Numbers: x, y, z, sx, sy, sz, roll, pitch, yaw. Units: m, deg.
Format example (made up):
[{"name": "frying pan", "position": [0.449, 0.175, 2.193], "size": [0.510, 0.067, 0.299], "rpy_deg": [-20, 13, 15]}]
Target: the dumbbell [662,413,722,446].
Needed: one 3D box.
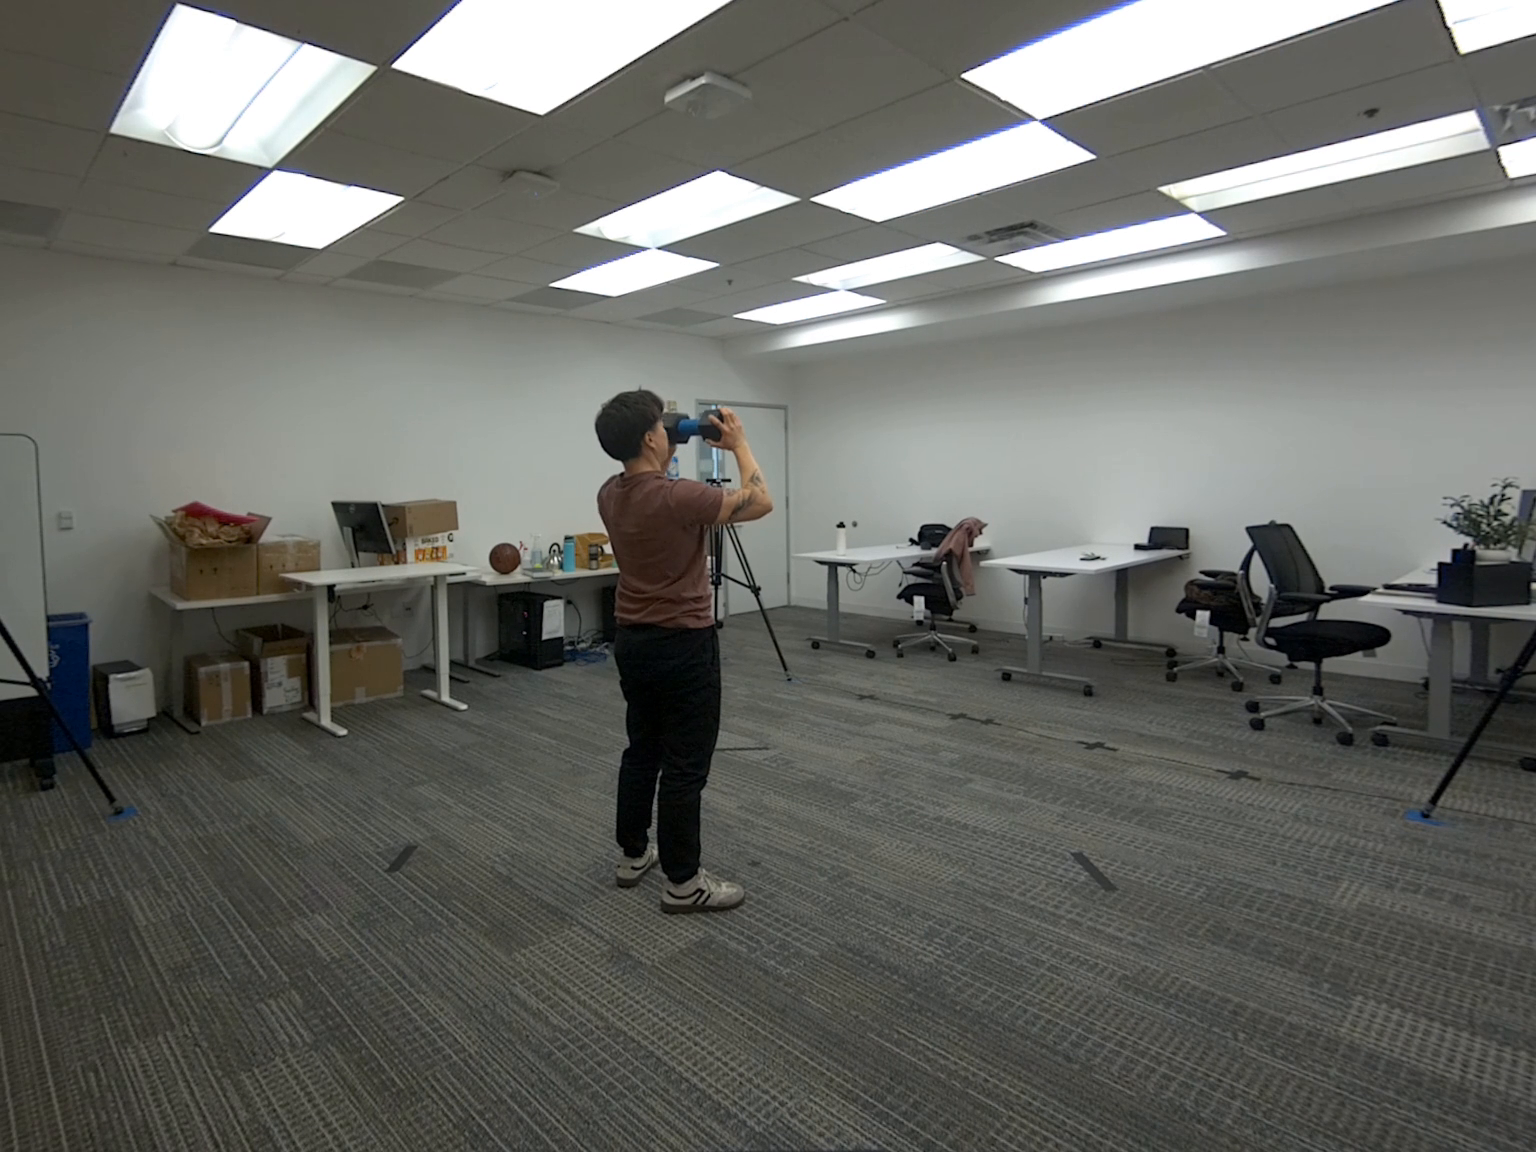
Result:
[{"name": "dumbbell", "position": [-0.250, -0.518, 2.948], "size": [0.303, 0.119, 0.108], "rpy_deg": [7, 37, 44]}]
